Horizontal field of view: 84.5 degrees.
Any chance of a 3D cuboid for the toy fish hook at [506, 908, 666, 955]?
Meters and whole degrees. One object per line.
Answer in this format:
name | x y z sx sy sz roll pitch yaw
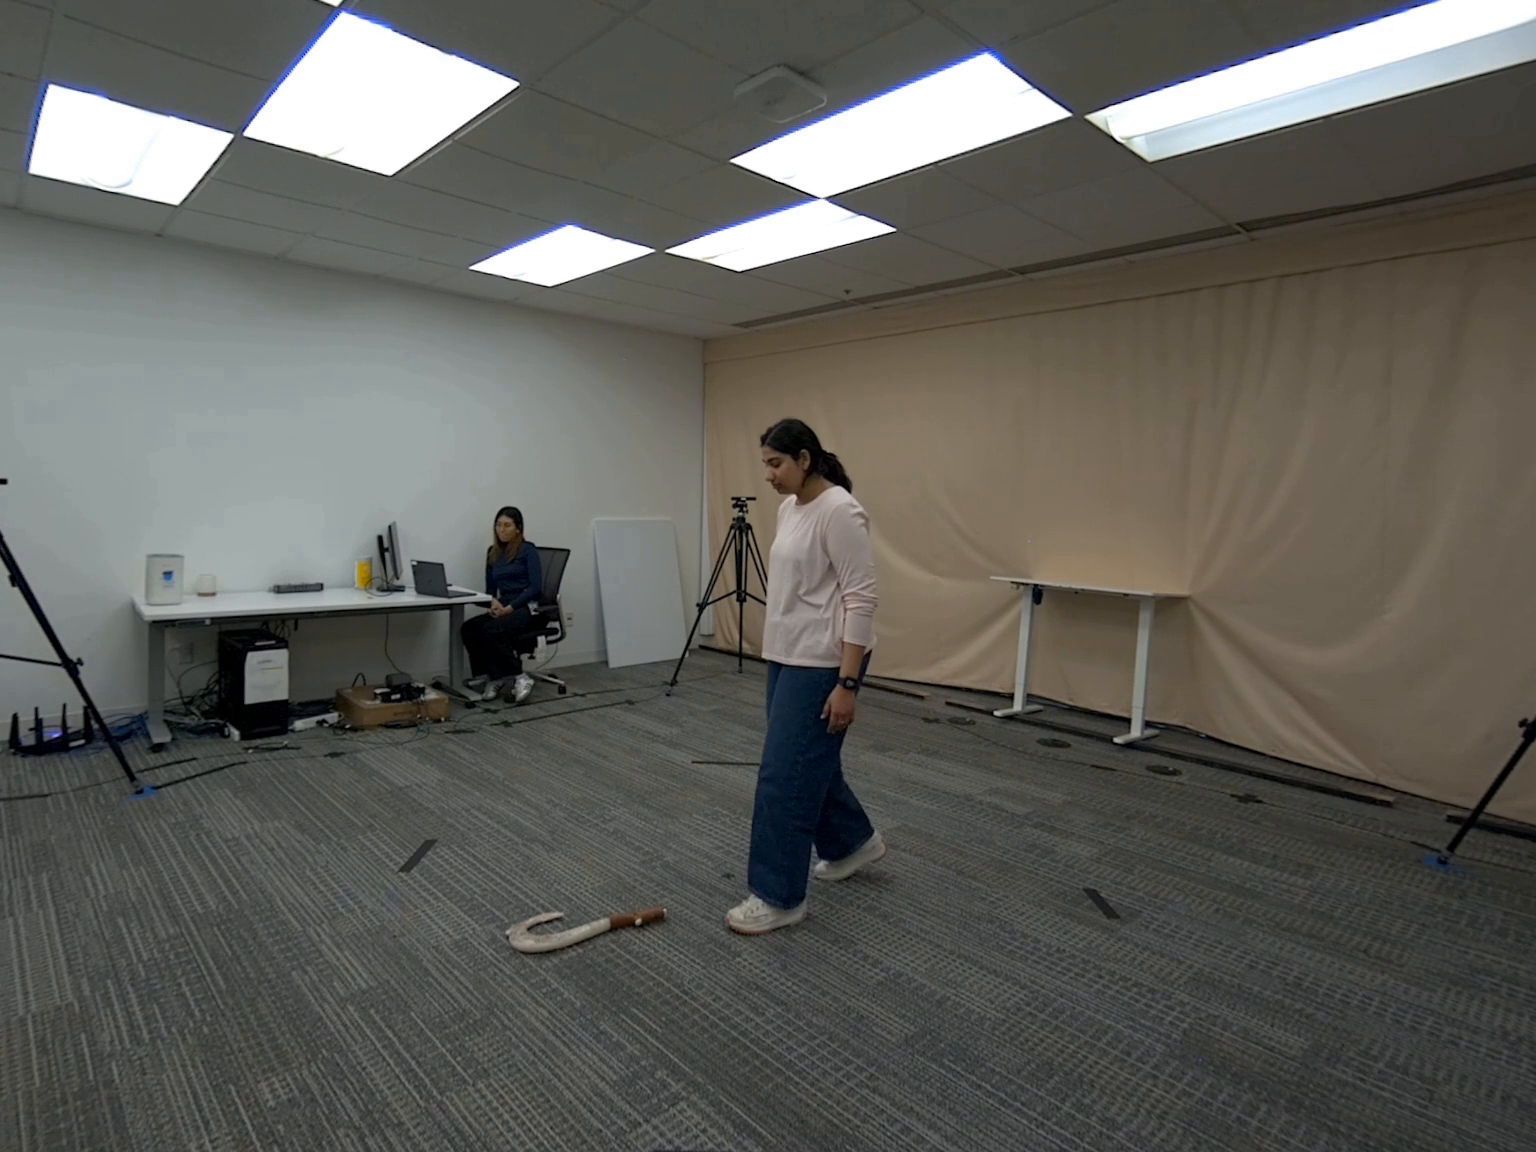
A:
toy fish hook | -0.583 1.111 2.705 0.497 0.048 0.229 -1 6 -28
